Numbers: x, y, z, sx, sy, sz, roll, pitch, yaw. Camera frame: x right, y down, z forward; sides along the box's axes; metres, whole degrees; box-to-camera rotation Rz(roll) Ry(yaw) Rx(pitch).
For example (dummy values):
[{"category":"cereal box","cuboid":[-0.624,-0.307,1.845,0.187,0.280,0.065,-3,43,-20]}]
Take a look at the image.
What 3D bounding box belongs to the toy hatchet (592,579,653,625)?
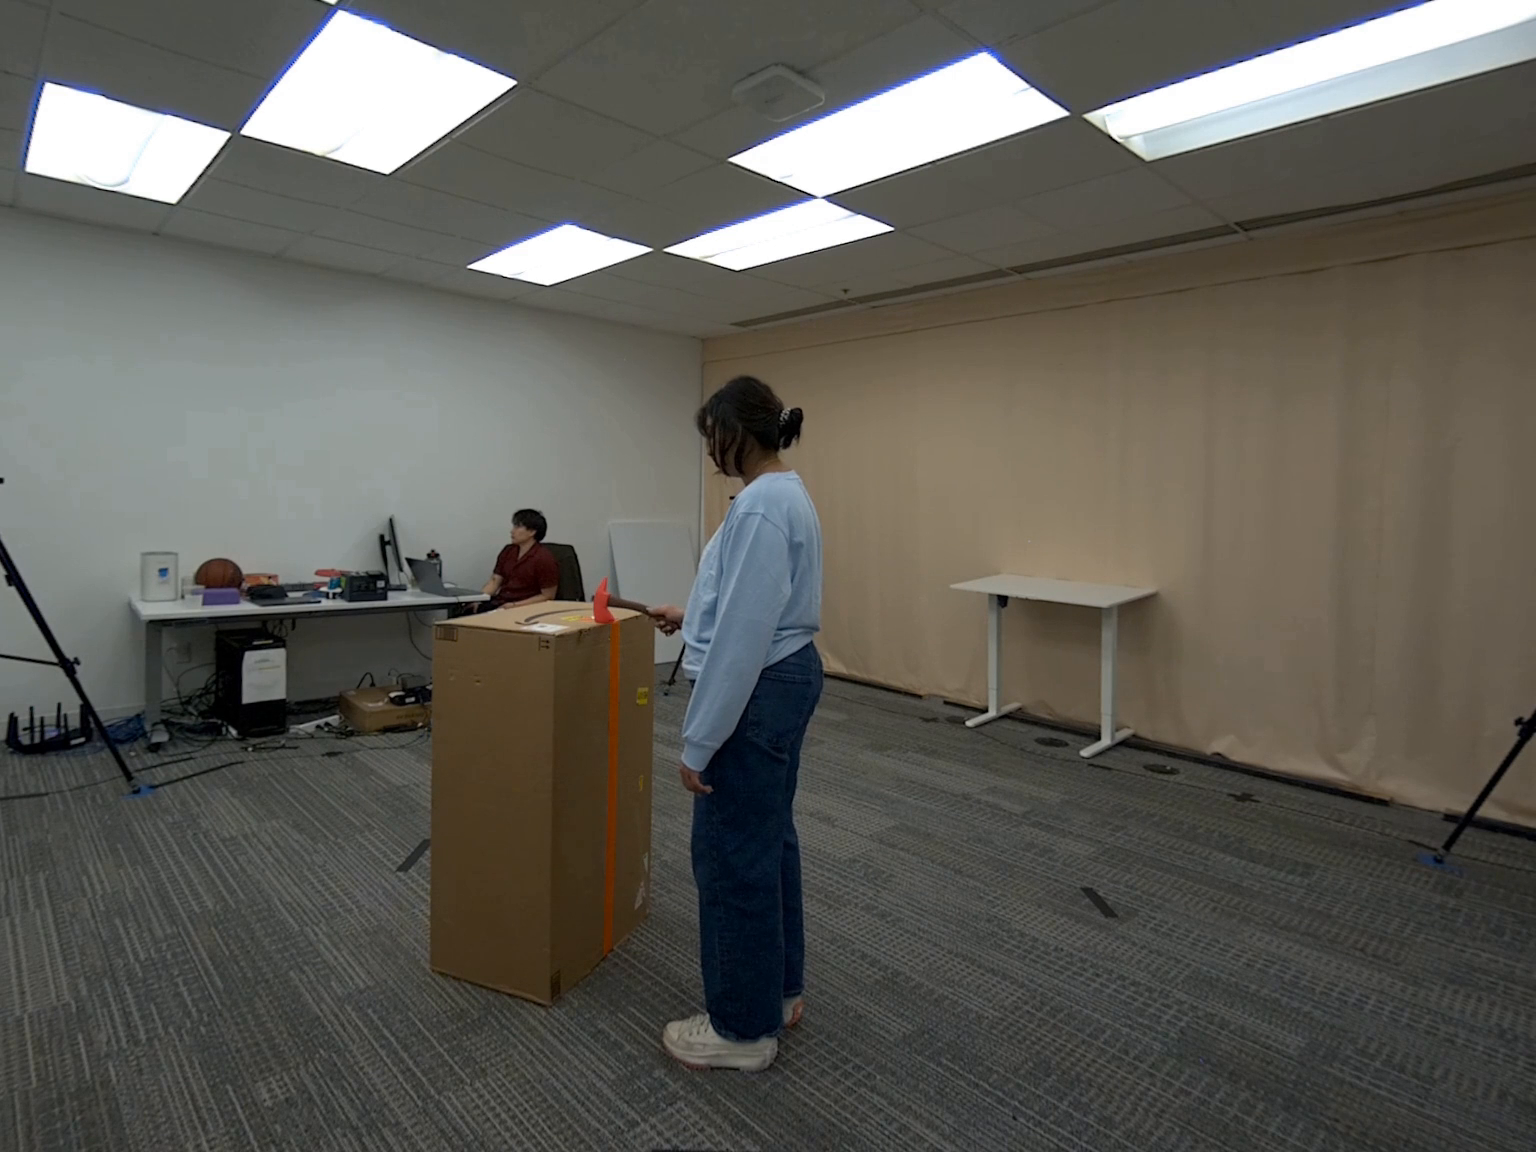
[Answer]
[{"category":"toy hatchet","cuboid":[-0.413,0.121,2.419,0.273,0.131,0.029,32,3,11]}]
